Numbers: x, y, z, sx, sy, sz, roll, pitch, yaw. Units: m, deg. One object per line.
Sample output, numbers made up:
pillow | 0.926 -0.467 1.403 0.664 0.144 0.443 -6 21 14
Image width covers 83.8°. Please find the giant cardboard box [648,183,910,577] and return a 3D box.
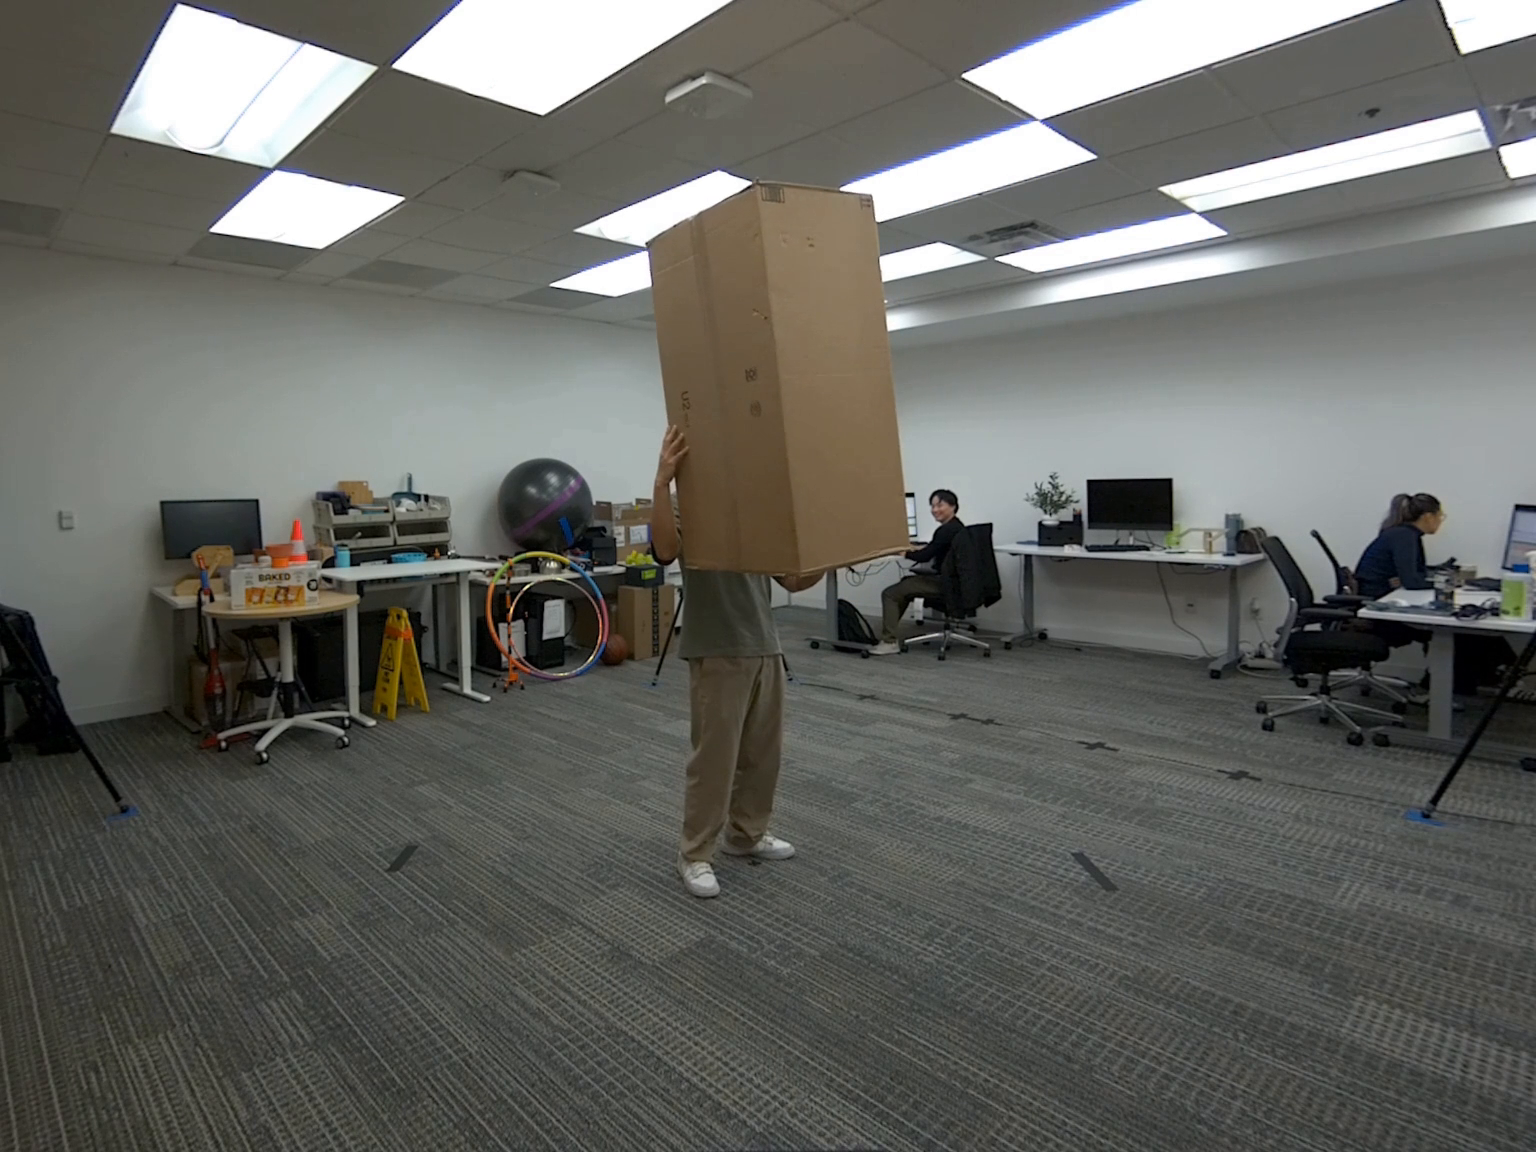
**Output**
giant cardboard box | 0.021 -0.546 2.556 0.417 1.021 0.593 -10 6 -36
